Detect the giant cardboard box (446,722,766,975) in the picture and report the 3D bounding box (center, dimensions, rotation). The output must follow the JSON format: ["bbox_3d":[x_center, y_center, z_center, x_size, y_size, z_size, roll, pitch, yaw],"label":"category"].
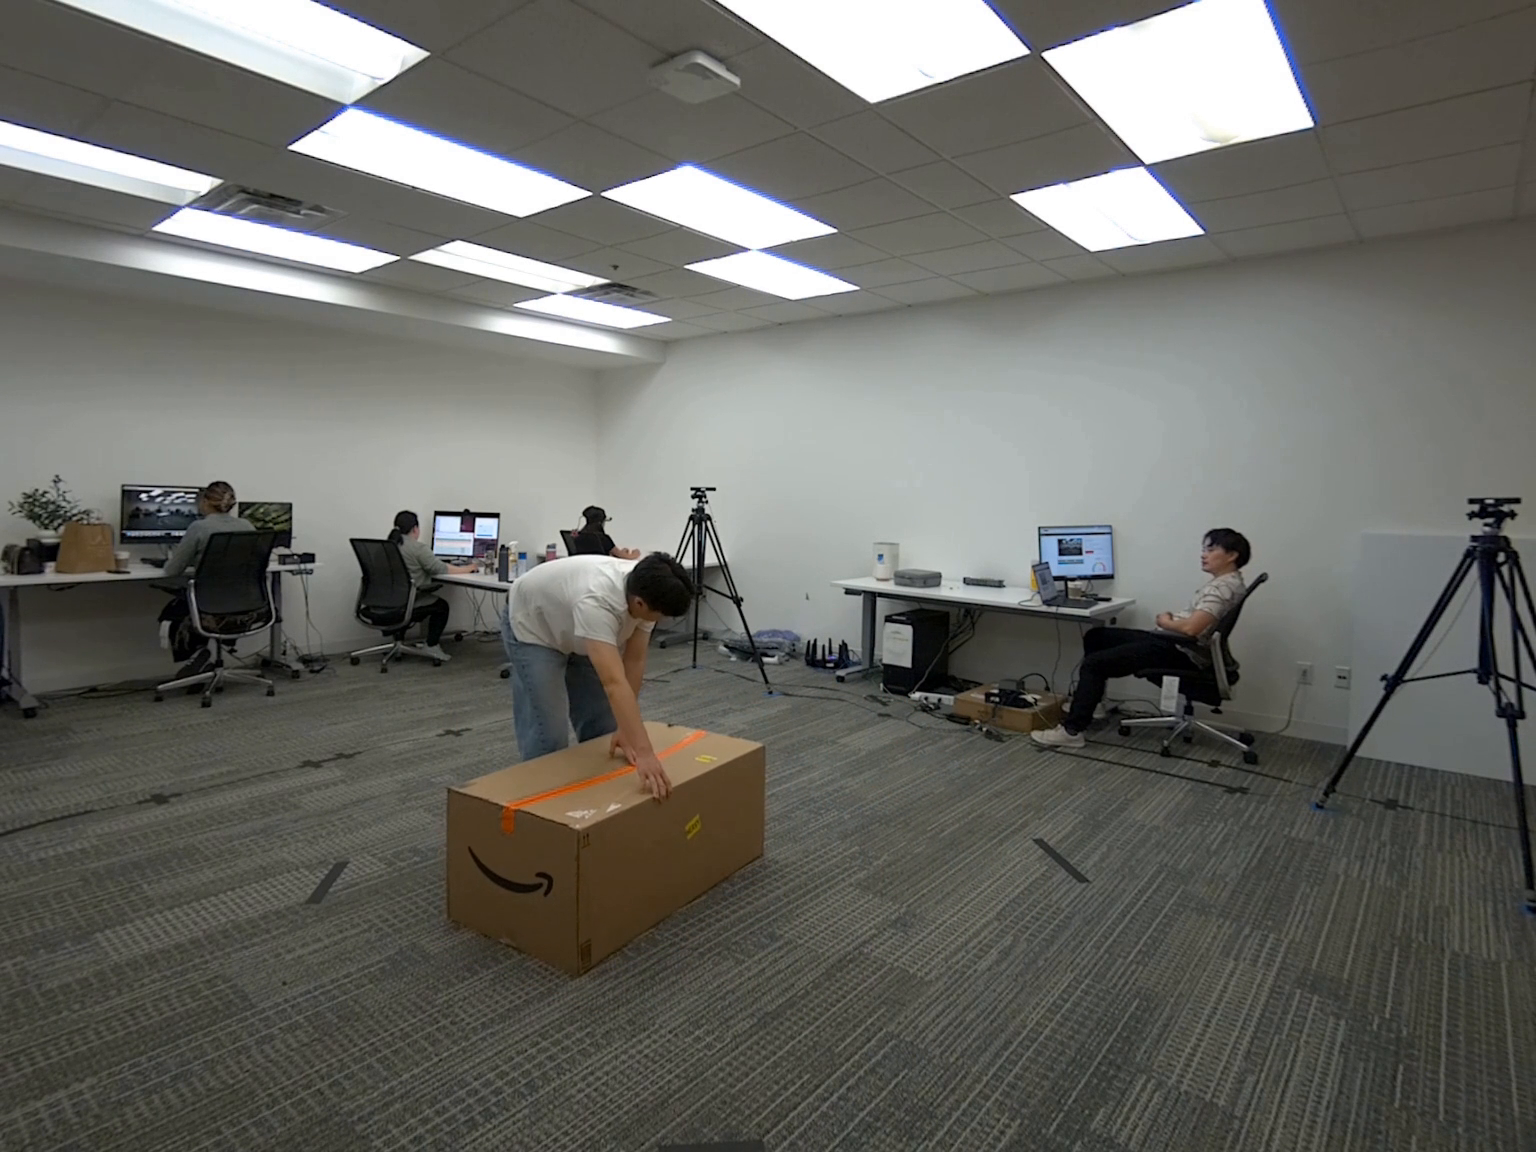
[{"bbox_3d":[-0.526,0.864,2.968,0.595,0.424,0.999,4,6,32],"label":"giant cardboard box"}]
